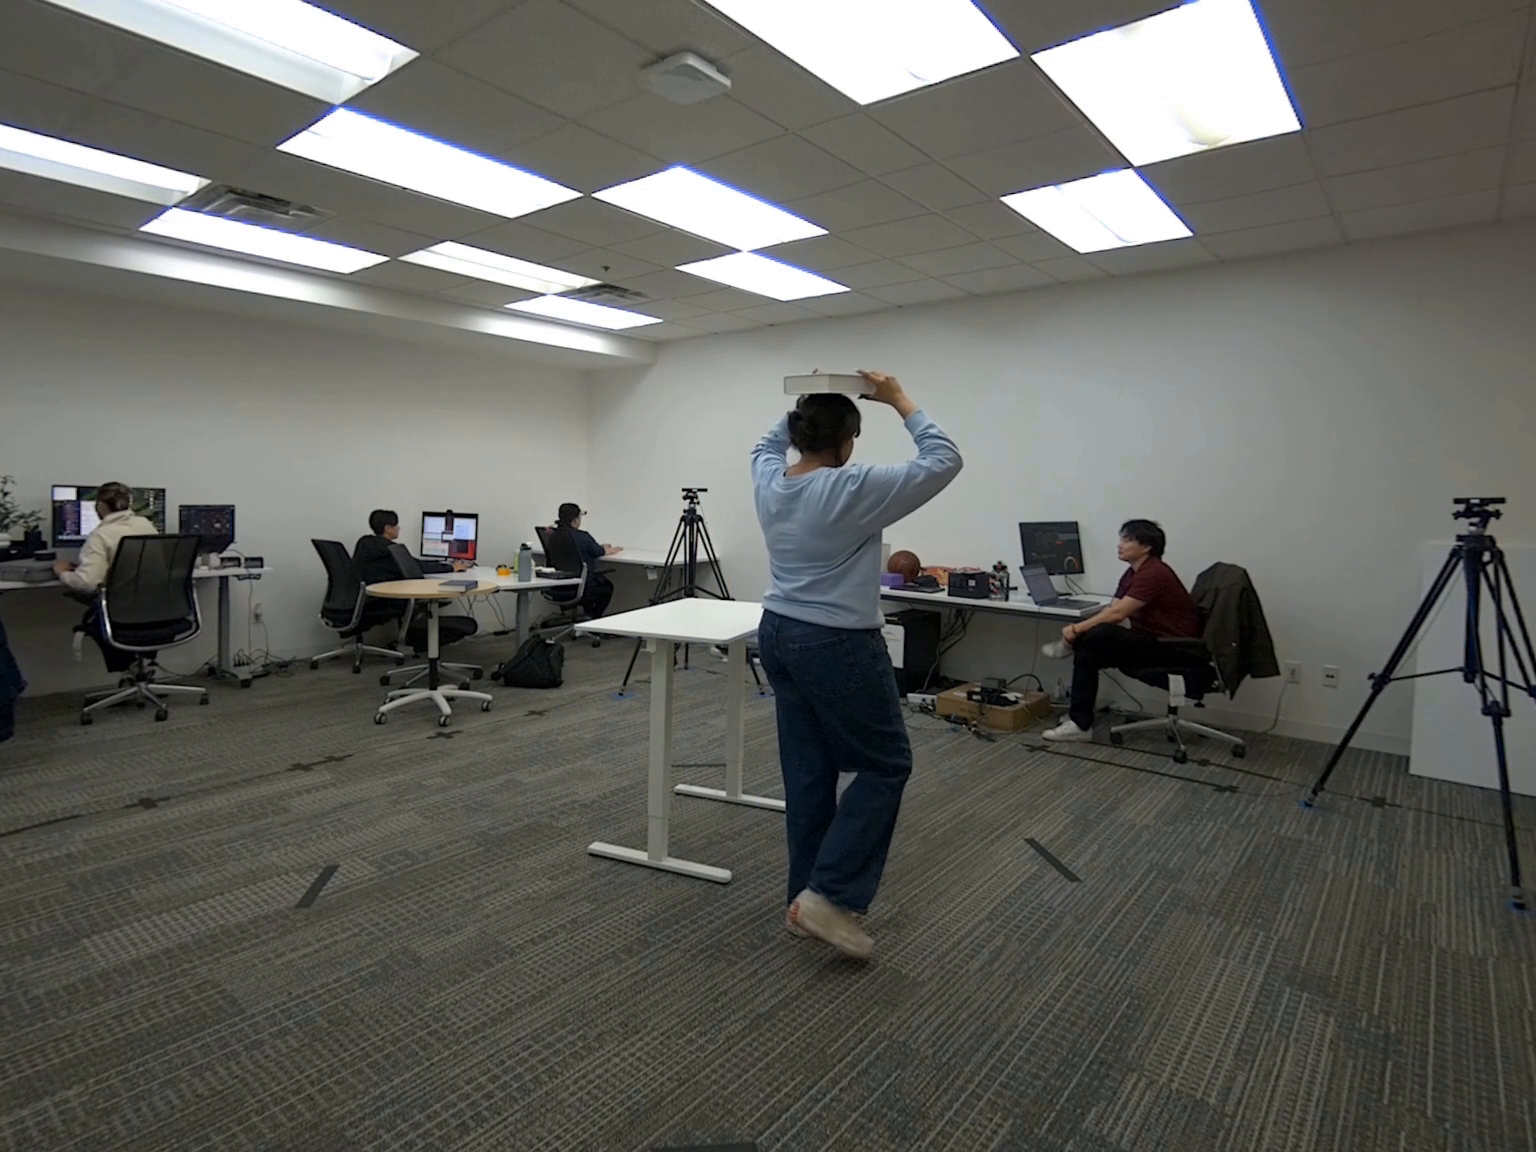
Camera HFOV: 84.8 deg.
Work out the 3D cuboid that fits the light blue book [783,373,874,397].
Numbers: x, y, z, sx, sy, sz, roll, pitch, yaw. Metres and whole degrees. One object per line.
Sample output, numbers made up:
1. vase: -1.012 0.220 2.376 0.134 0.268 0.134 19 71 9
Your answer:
1. light blue book: 0.201 -0.590 2.620 0.254 0.058 0.198 -9 15 -42
